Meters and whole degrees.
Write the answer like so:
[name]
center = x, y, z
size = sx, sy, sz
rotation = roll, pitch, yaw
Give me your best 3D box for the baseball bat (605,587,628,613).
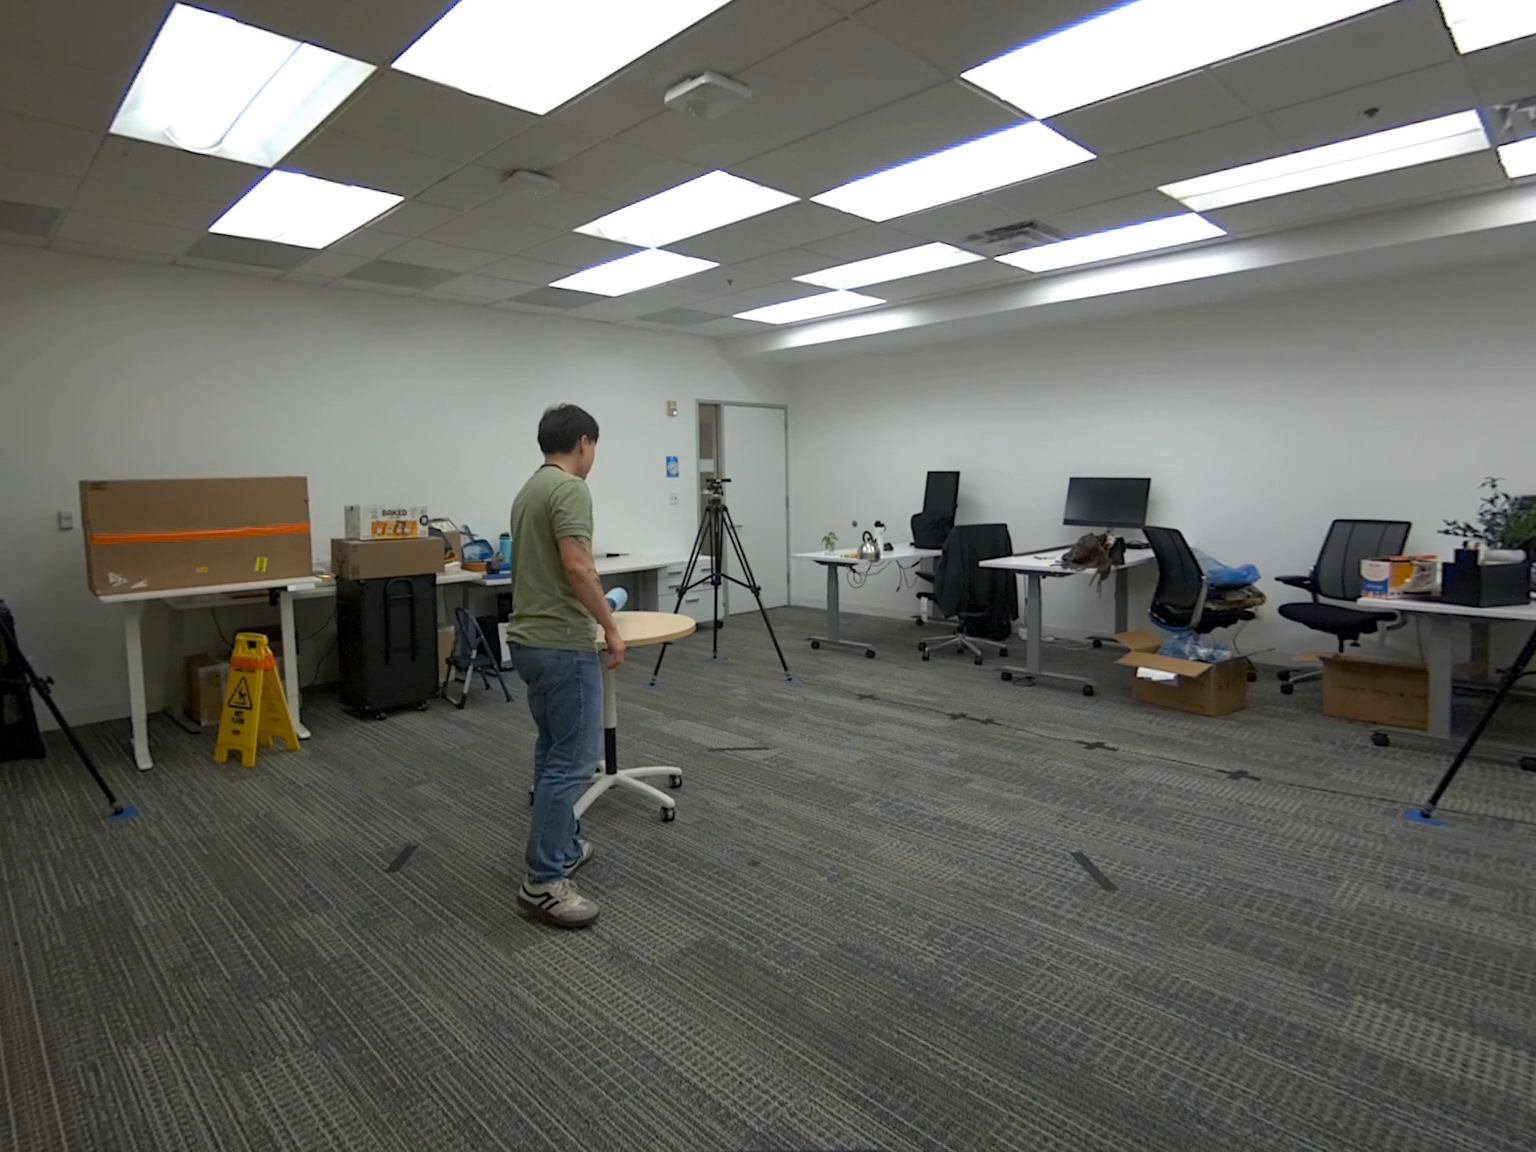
[baseball bat]
center = -0.678, 0.130, 3.641
size = 0.089, 0.088, 0.545
rotation = -1, 9, 1
